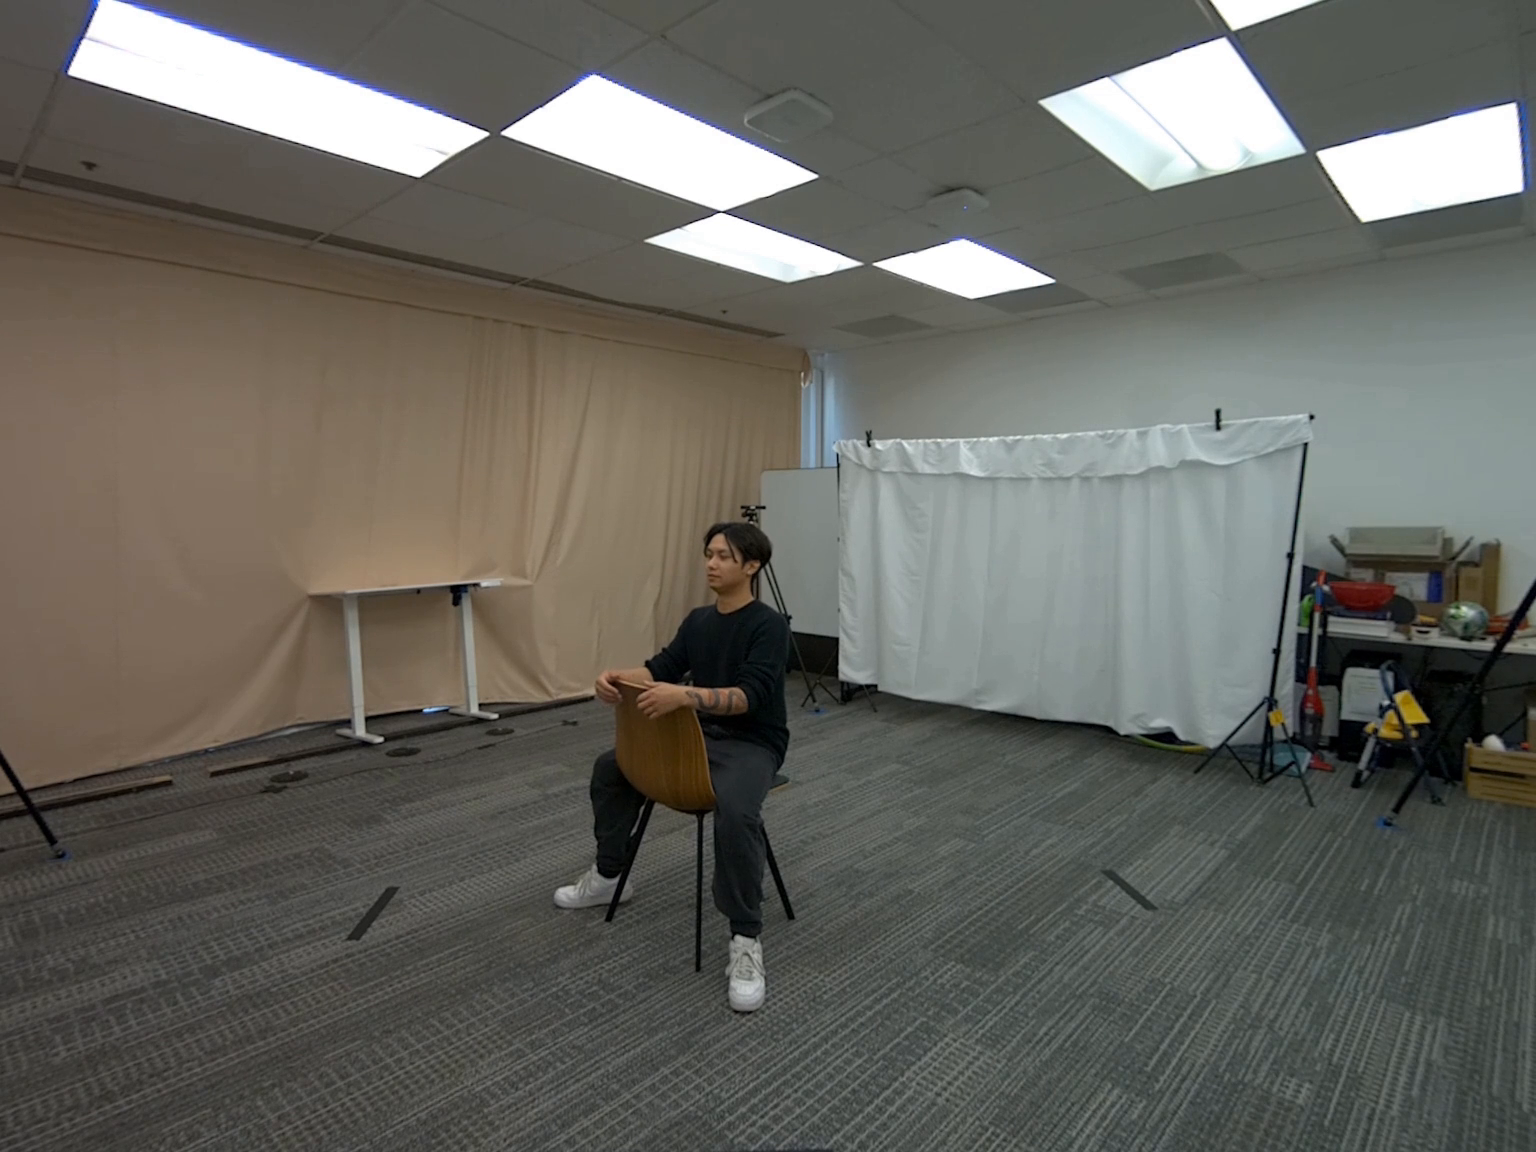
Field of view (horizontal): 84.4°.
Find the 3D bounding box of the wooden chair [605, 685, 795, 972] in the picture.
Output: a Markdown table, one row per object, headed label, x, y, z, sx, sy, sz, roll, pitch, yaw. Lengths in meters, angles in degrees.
| label | x | y | z | sx | sy | sz | roll | pitch | yaw |
| --- | --- | --- | --- | --- | --- | --- | --- | --- | --- |
| wooden chair | -0.218 | 0.728 | 2.817 | 0.494 | 0.874 | 0.508 | 3 | 8 | 44 |
